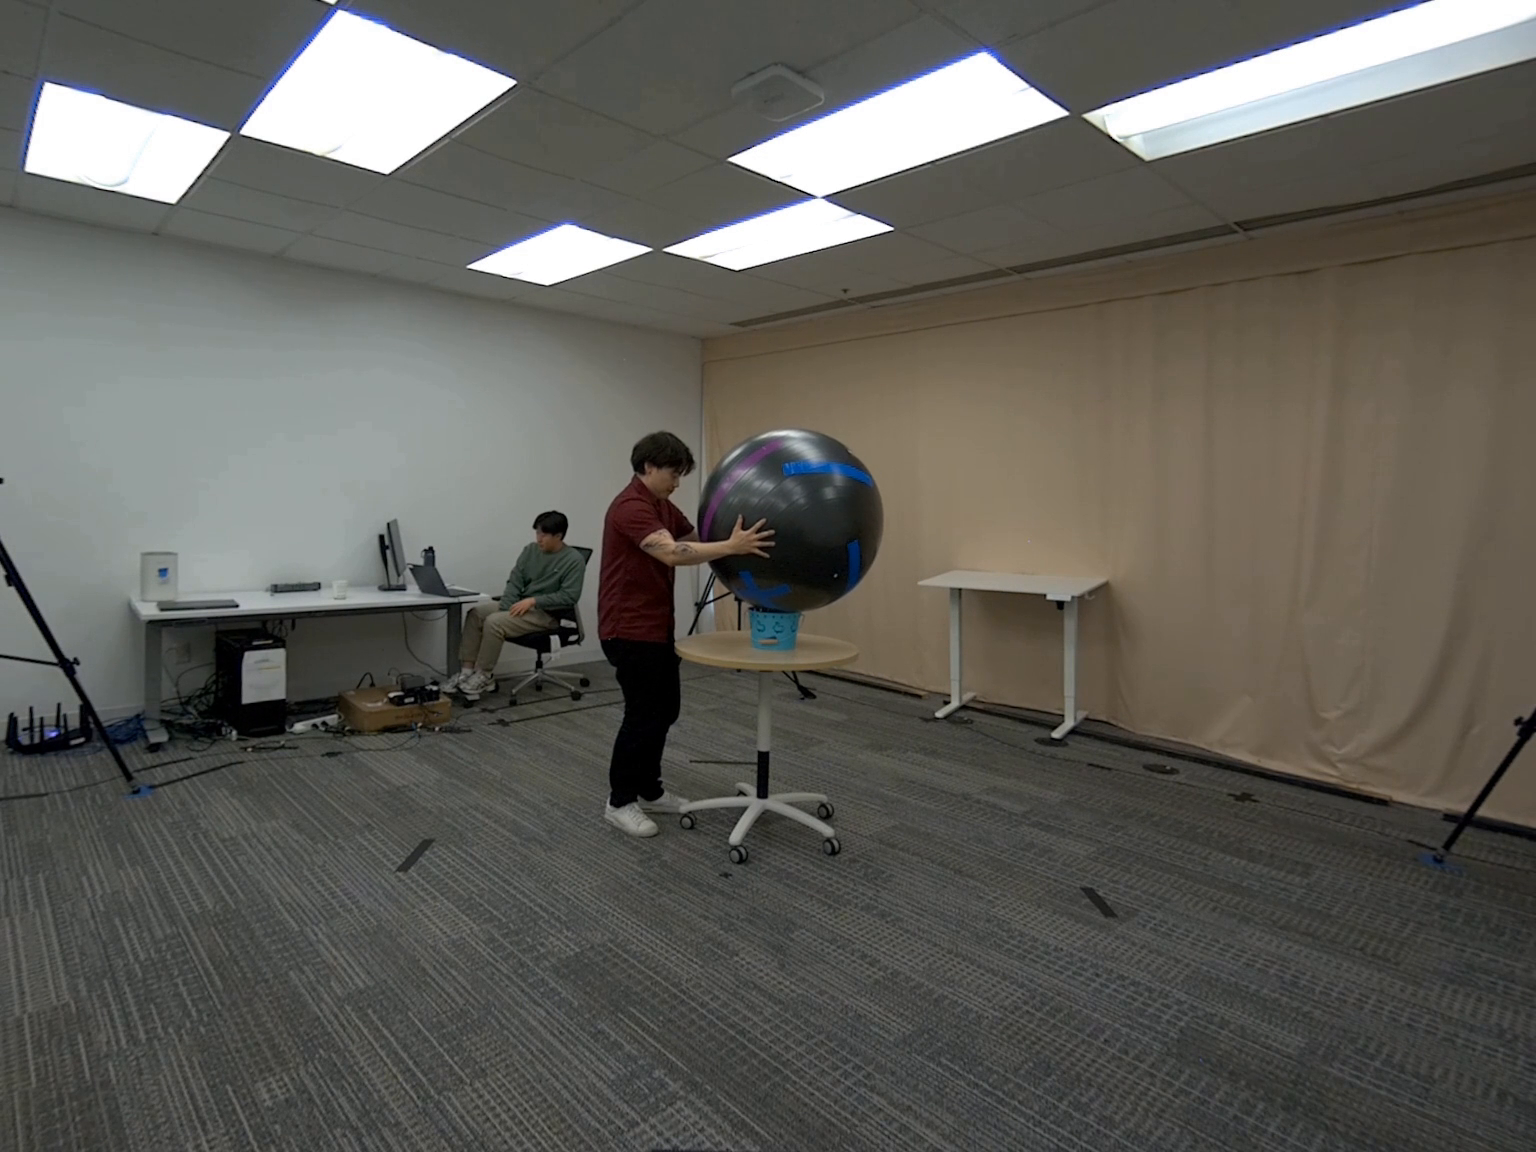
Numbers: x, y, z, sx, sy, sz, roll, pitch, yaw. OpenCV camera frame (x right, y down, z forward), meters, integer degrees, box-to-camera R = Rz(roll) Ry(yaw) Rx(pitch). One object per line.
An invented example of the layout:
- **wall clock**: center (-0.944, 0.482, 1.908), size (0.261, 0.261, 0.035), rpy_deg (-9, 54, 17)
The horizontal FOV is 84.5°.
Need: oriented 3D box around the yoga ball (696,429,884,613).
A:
- **yoga ball**: center (0.077, -0.225, 3.468), size (0.757, 0.756, 0.761), rpy_deg (1, 4, -1)
